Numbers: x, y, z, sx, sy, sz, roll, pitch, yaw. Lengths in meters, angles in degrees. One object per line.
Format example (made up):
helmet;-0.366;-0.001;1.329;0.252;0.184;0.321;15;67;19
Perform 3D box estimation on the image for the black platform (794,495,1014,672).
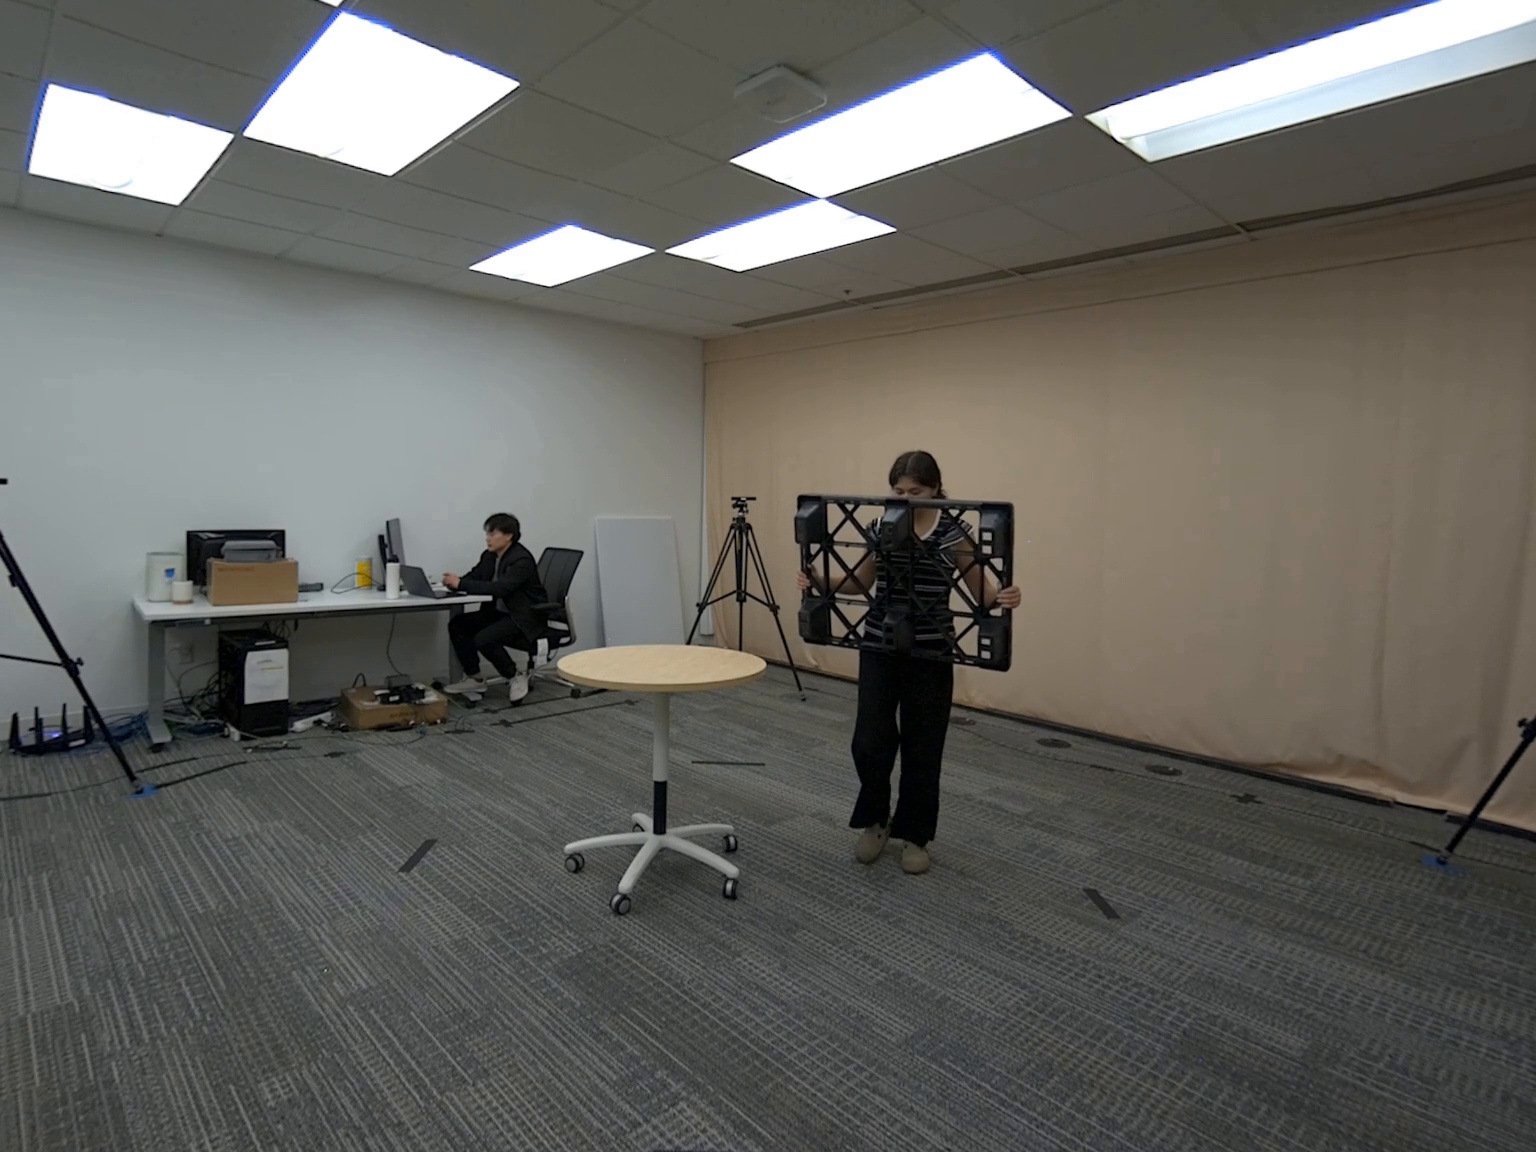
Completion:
black platform;0.455;0.017;3.038;0.823;0.598;0.142;5;16;29
